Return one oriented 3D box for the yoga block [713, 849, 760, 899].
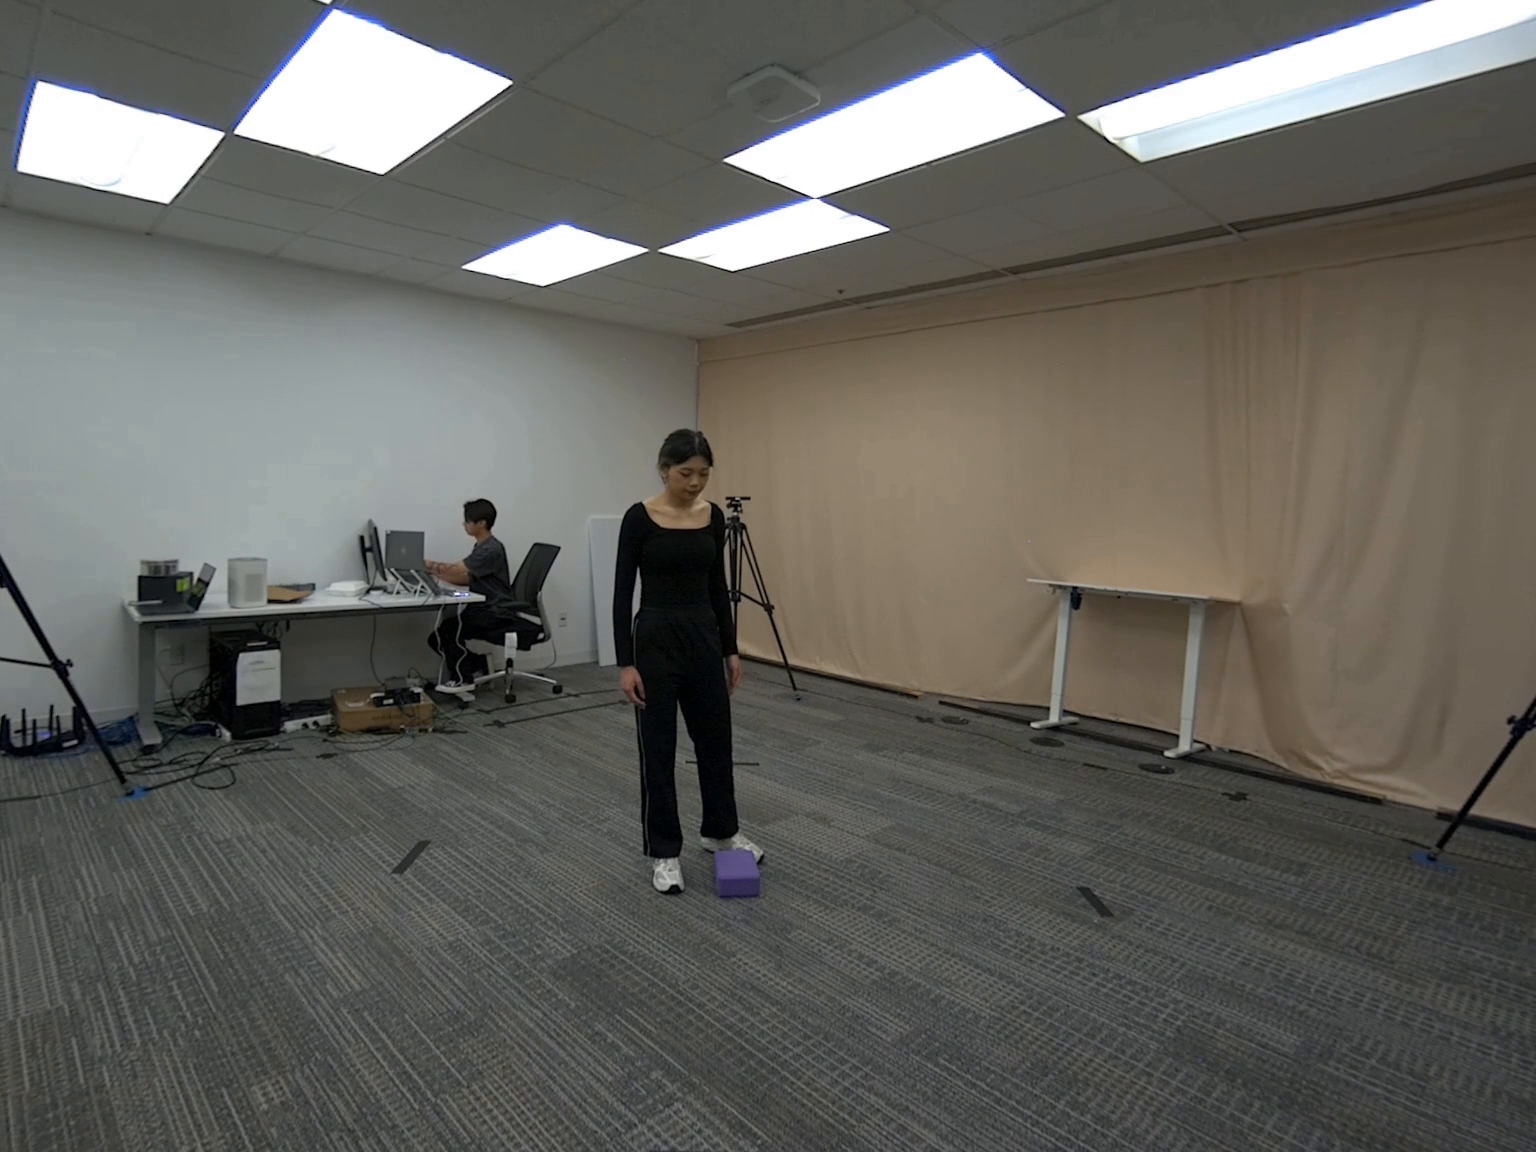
[{"bbox_3d":[-0.131,1.077,3.038,0.148,0.076,0.231,1,4,-7],"label":"yoga block"}]
